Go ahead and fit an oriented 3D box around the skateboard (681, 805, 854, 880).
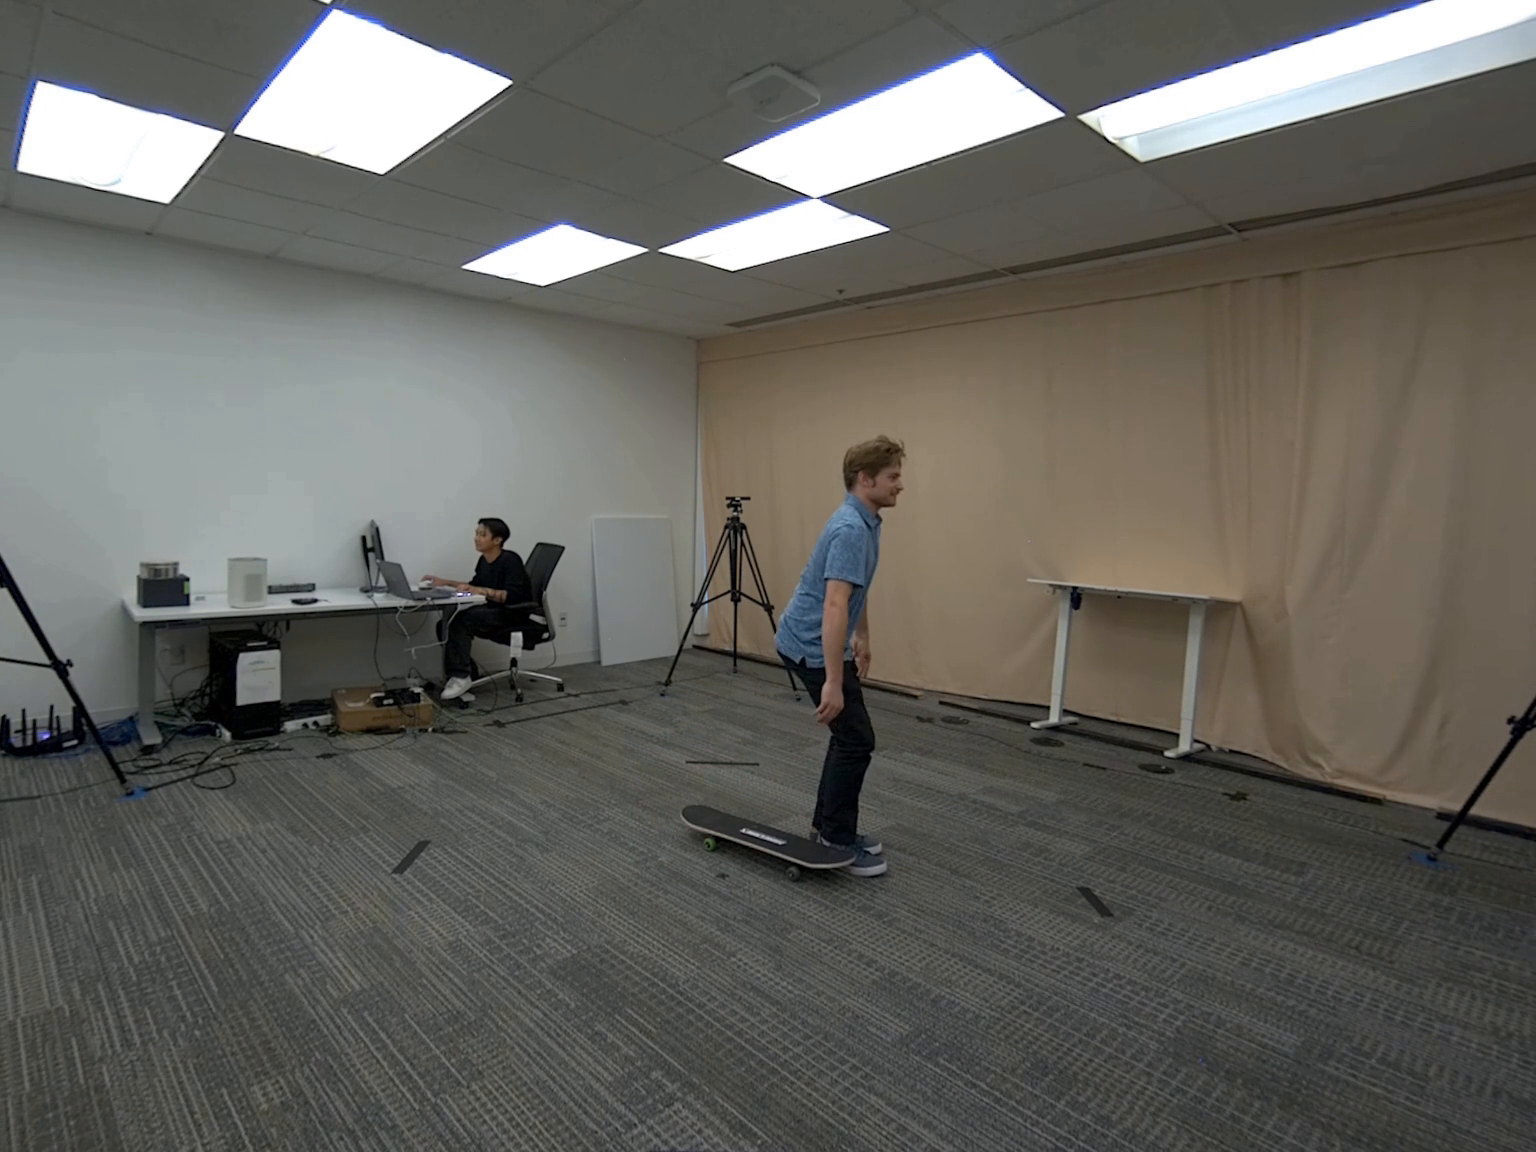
[{"bbox_3d":[-0.025,1.036,3.259,0.805,0.110,0.189,5,5,37],"label":"skateboard"}]
